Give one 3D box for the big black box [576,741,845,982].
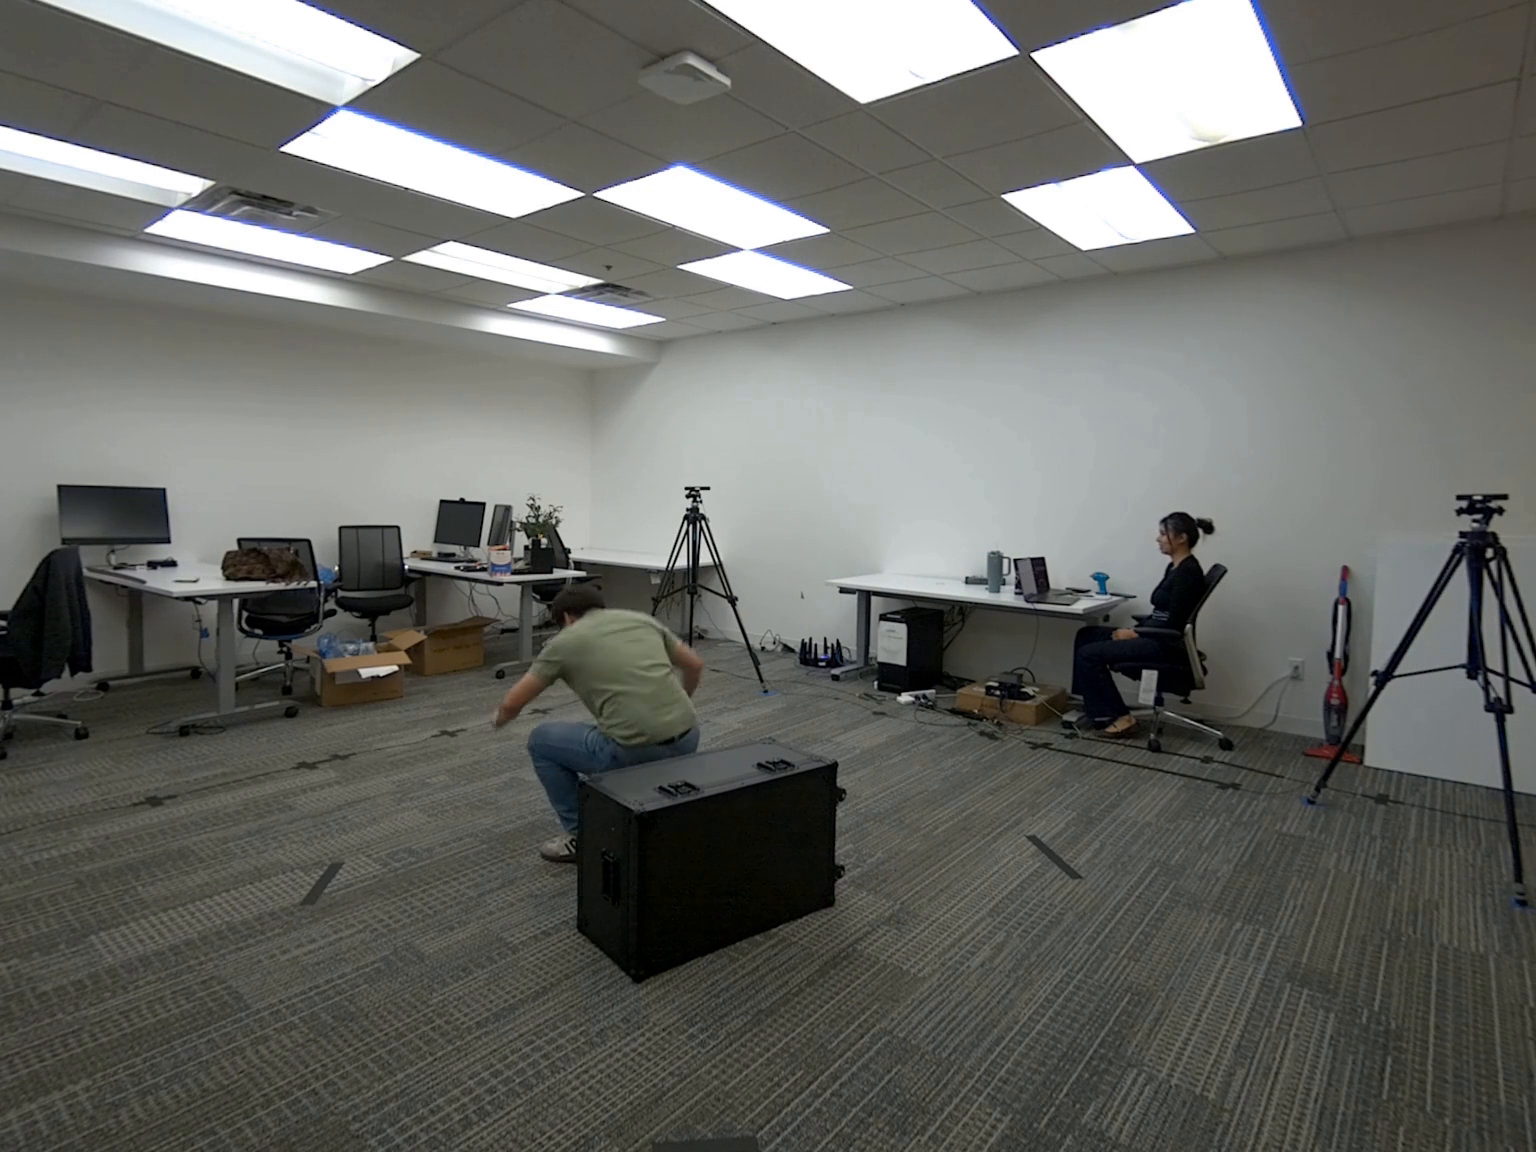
[{"bbox_3d":[-0.170,0.858,2.765,0.836,0.520,0.409,-3,5,-38],"label":"big black box"}]
